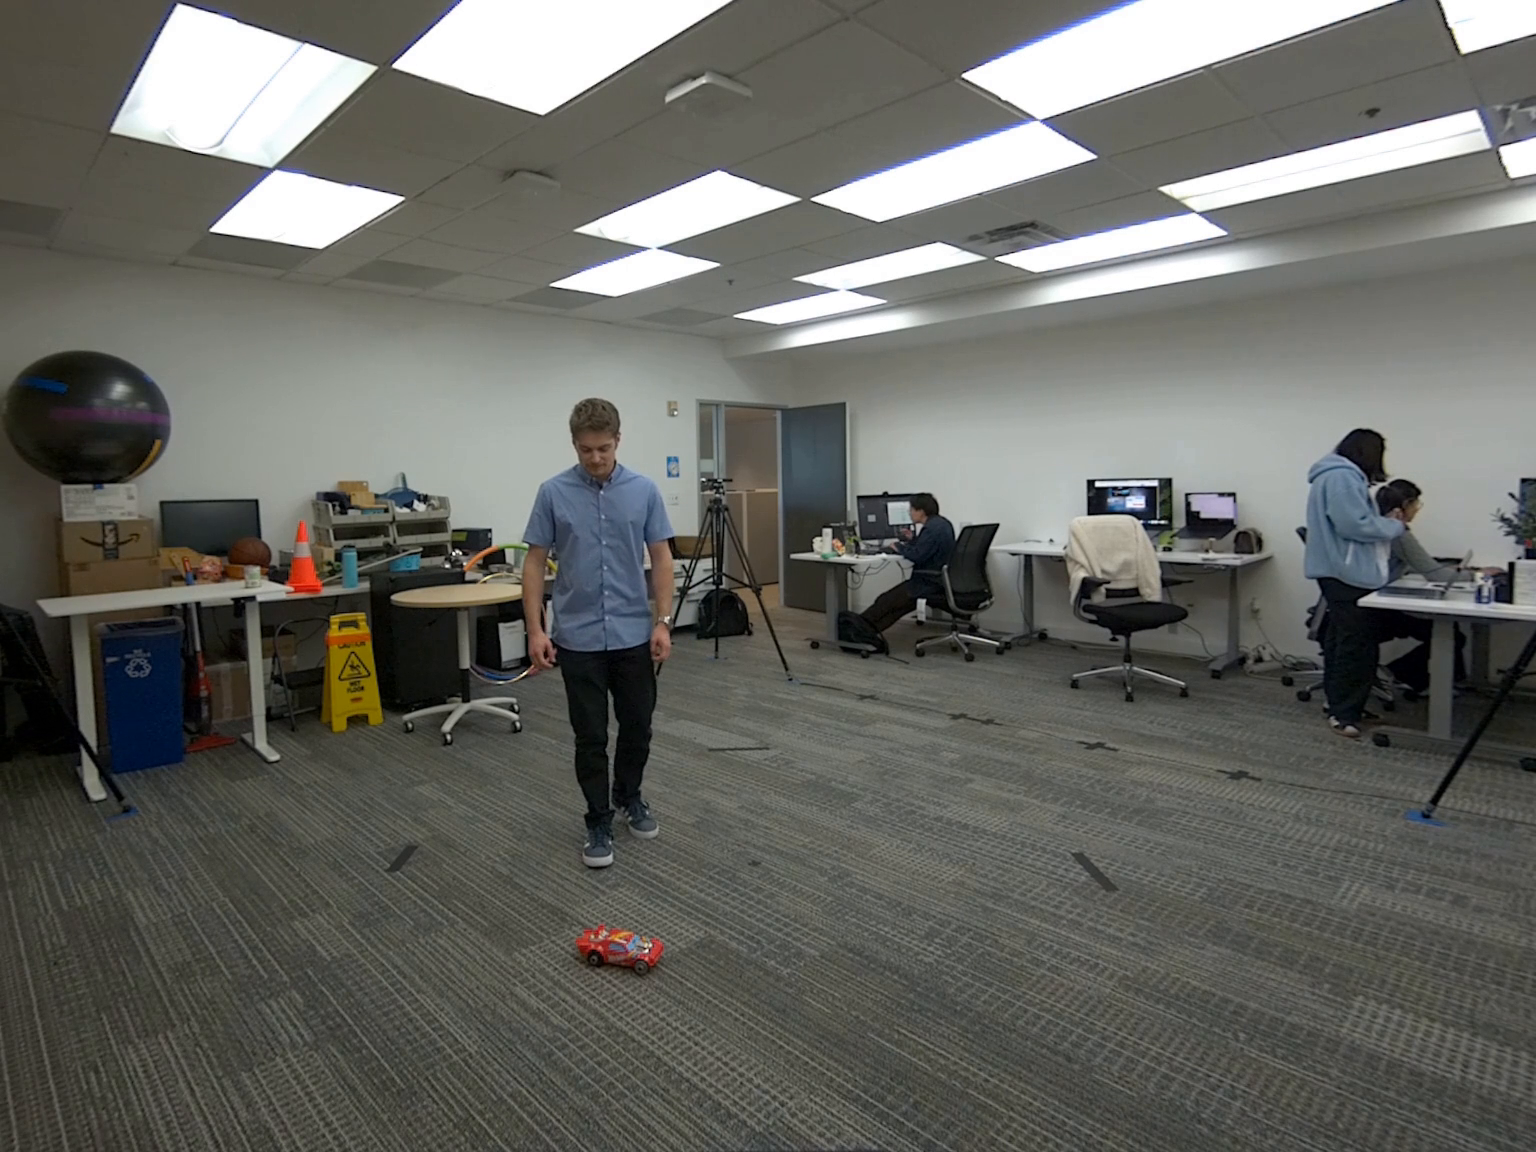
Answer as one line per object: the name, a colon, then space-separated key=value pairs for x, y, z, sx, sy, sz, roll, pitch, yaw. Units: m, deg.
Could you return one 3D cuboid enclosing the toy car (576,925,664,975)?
toy car: x=-0.436 y=1.094 z=2.498 sx=0.259 sy=0.083 sz=0.129 roll=11 pitch=9 yaw=15
